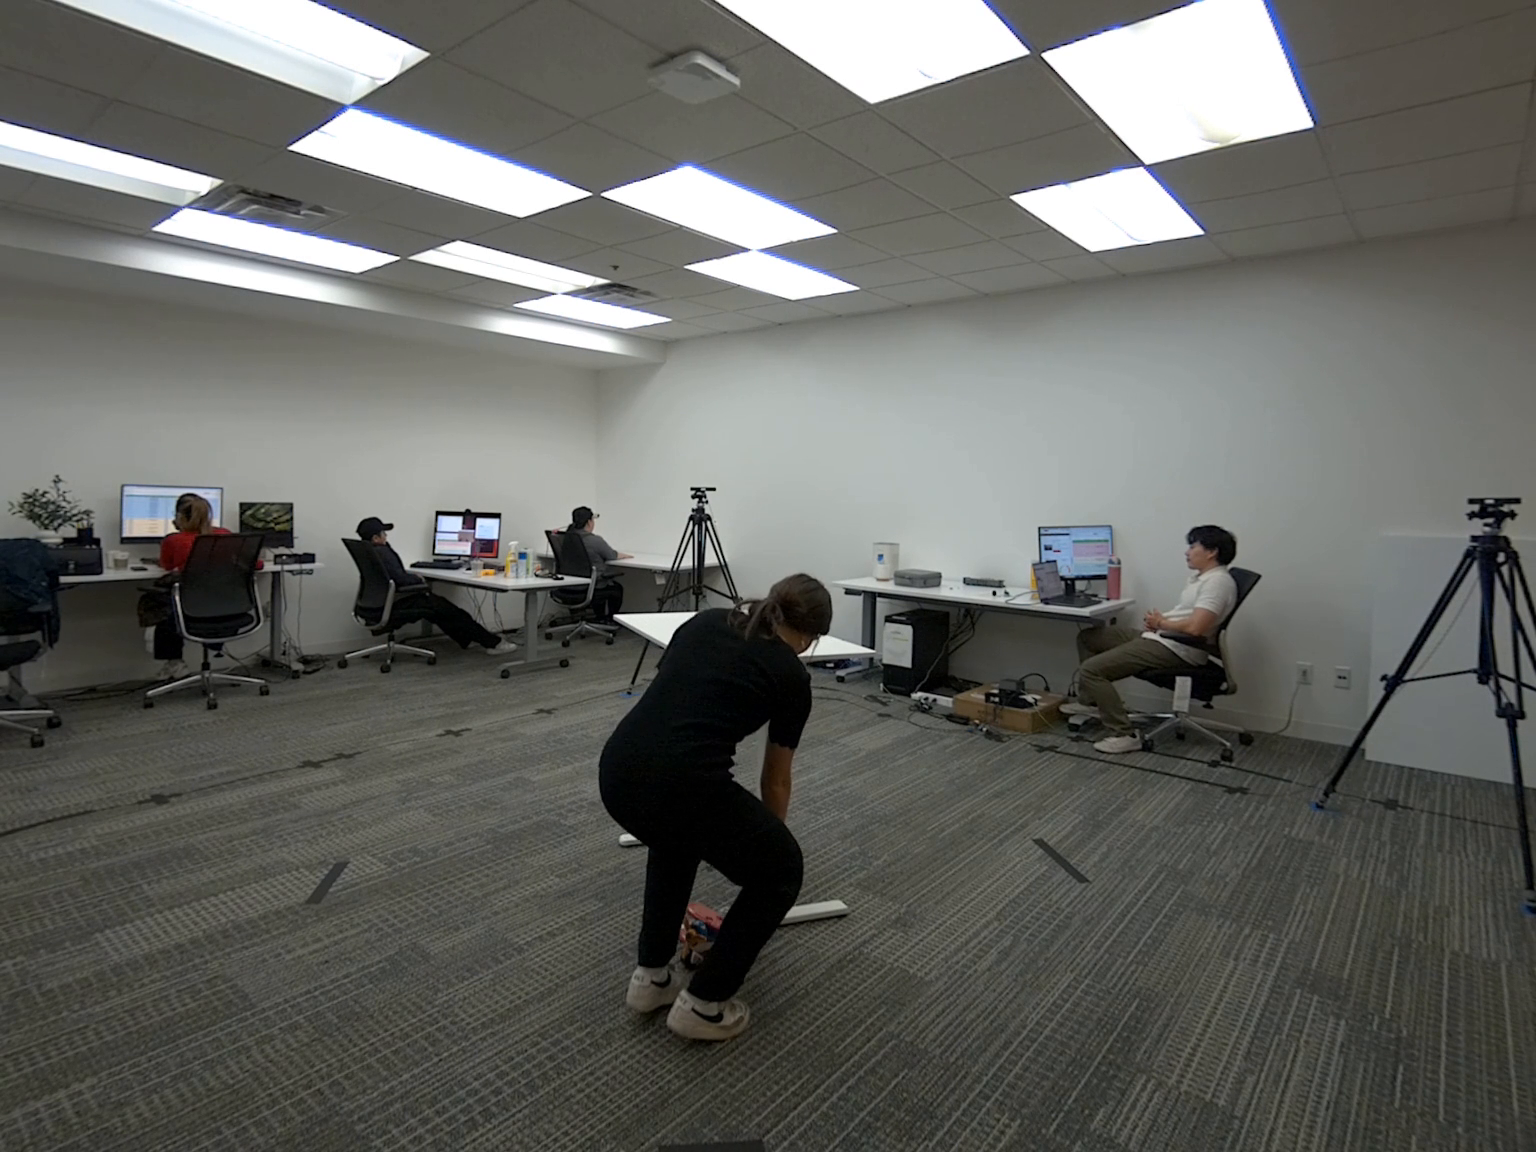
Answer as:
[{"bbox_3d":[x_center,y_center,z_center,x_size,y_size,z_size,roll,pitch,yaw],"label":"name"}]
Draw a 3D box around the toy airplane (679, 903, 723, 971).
[{"bbox_3d":[-0.155,1.050,2.506,0.256,0.155,0.255,2,7,20],"label":"toy airplane"}]
